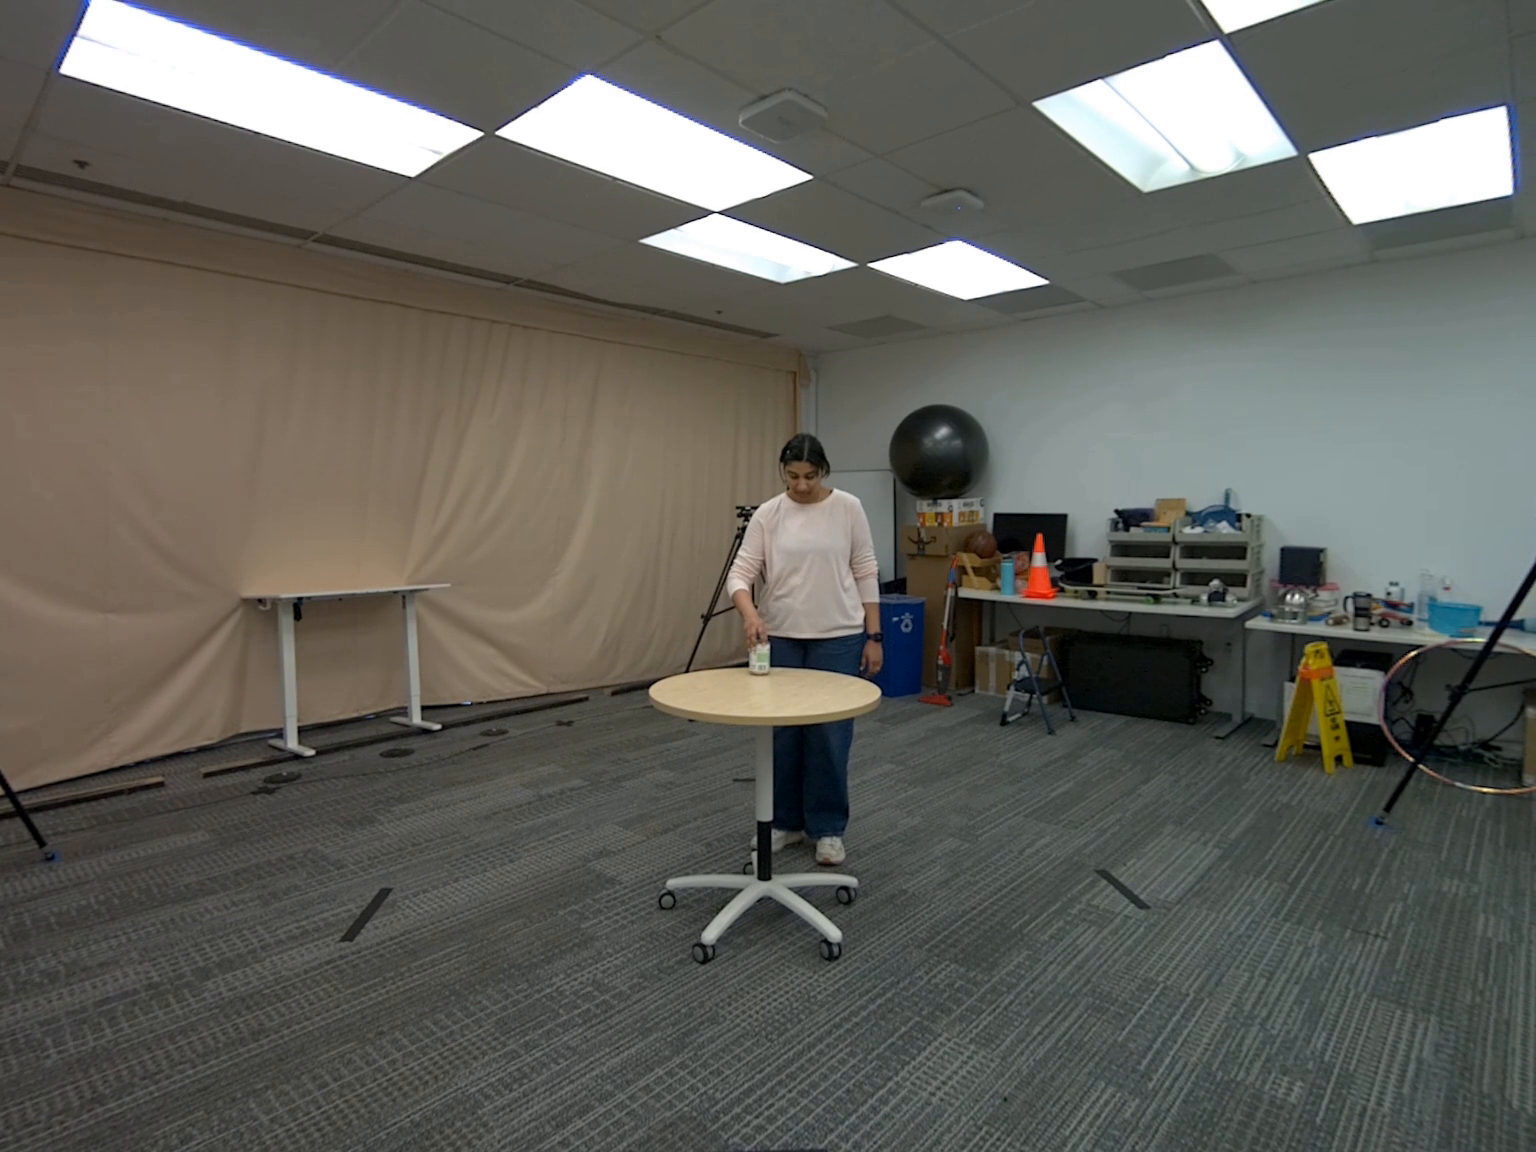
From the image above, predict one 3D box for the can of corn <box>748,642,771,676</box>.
[{"bbox_3d":[-0.024,0.301,3.050,0.074,0.111,0.074,0,-1,-2],"label":"can of corn"}]
